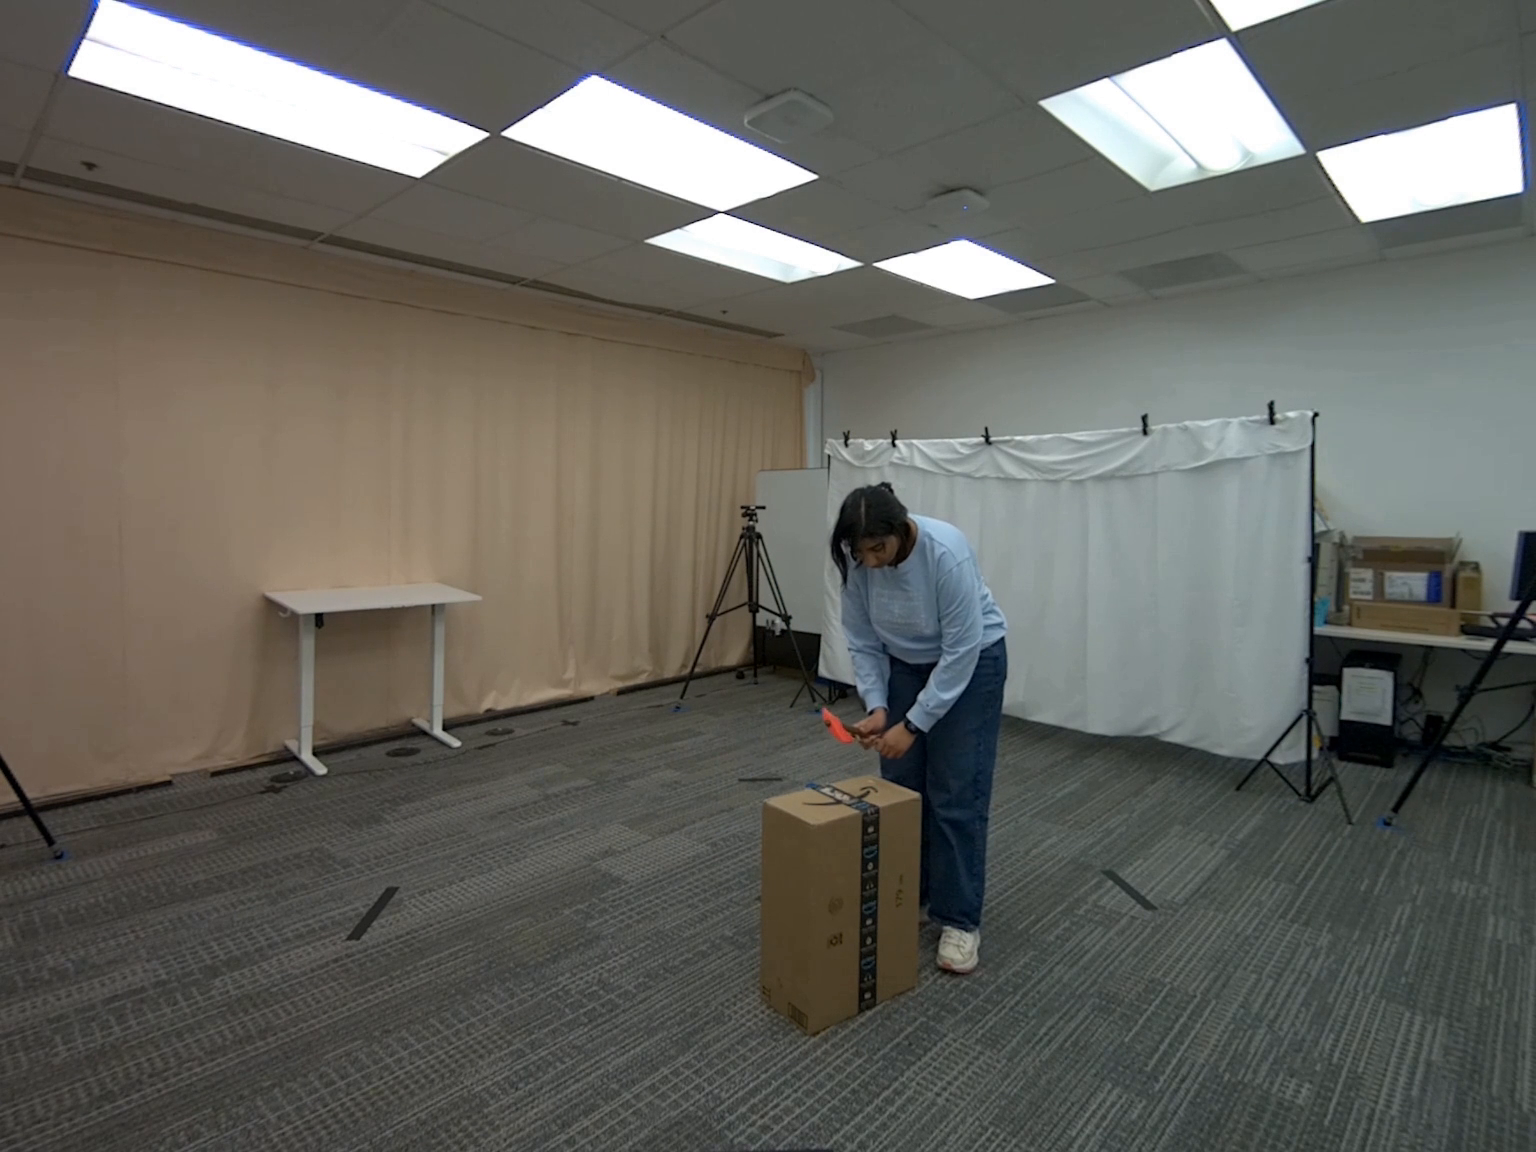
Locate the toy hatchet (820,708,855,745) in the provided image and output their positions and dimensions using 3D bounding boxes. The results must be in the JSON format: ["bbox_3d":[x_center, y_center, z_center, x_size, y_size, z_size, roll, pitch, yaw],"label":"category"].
[{"bbox_3d":[0.288,0.496,2.487,0.265,0.029,0.133,27,21,-14],"label":"toy hatchet"}]
